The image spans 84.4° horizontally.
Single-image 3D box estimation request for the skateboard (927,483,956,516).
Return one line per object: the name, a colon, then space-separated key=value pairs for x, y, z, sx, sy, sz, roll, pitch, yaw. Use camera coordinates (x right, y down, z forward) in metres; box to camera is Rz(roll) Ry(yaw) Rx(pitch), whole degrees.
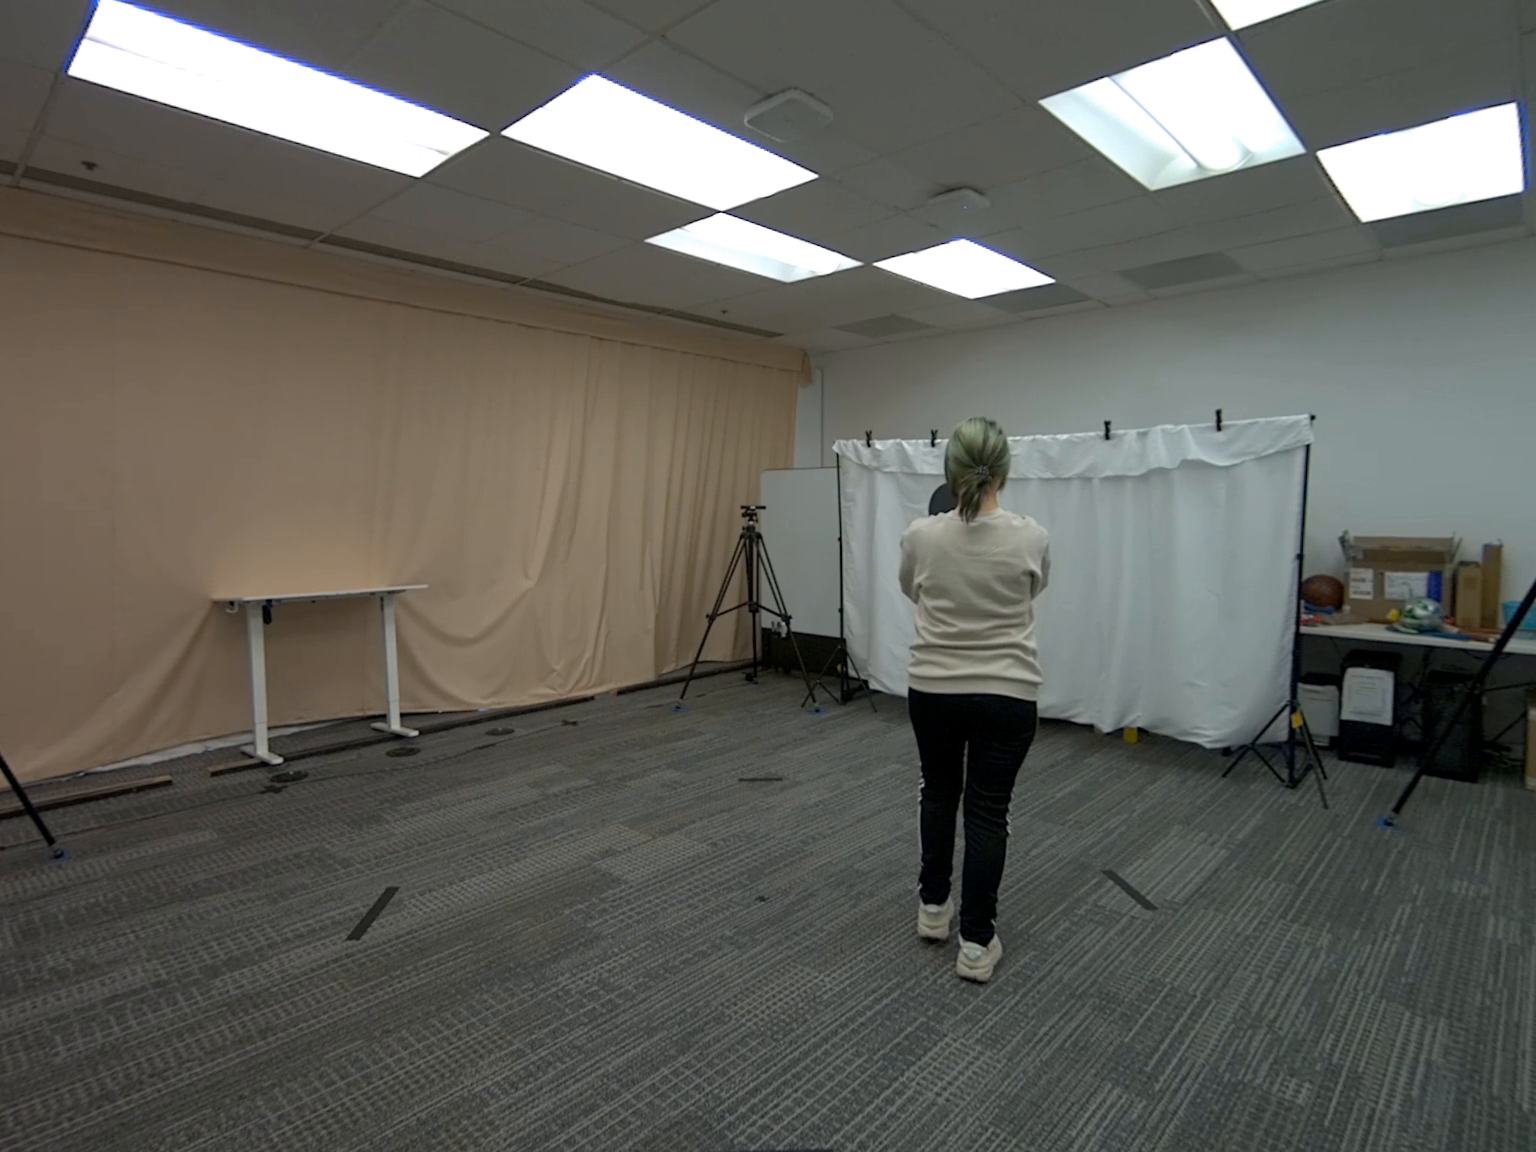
skateboard: x=0.719 y=0.030 z=3.064 sx=0.195 sy=0.797 sz=0.108 roll=-6 pitch=-24 yaw=8
